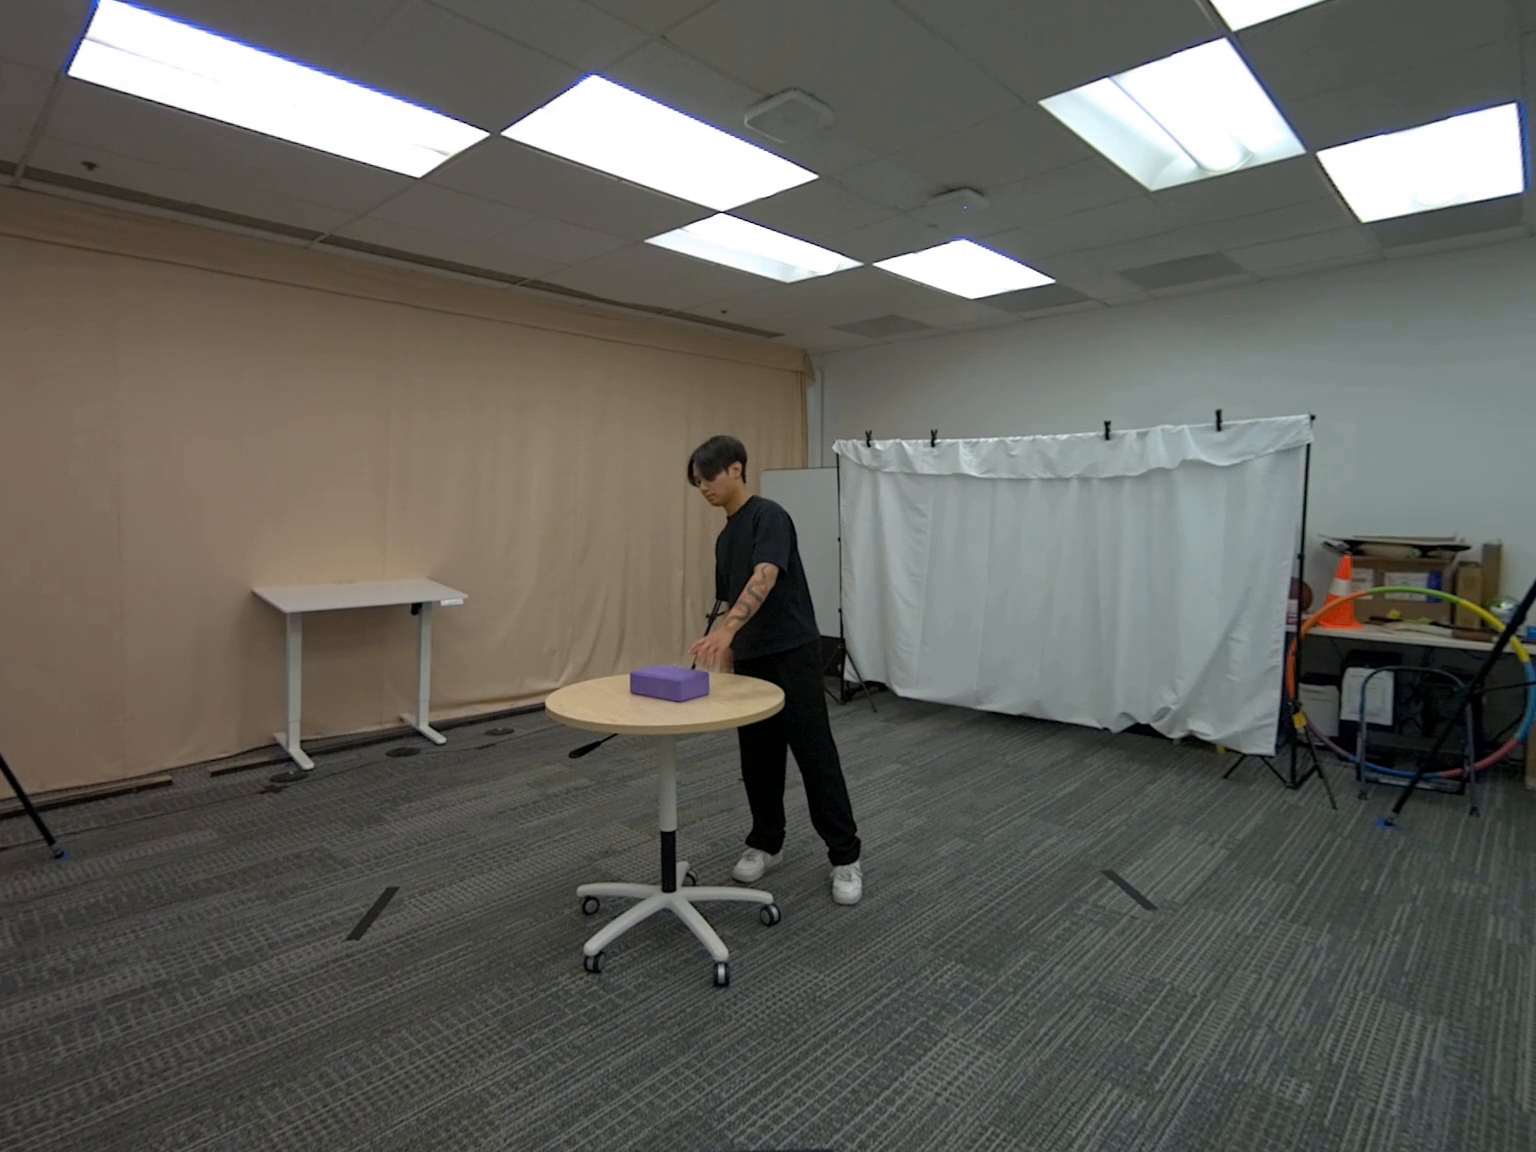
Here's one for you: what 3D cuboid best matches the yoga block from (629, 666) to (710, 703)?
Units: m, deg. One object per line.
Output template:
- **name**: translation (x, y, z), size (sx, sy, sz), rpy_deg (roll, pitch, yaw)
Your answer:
- **yoga block**: translation (-0.316, 0.344, 2.724), size (0.237, 0.076, 0.145), rpy_deg (3, 6, 38)
